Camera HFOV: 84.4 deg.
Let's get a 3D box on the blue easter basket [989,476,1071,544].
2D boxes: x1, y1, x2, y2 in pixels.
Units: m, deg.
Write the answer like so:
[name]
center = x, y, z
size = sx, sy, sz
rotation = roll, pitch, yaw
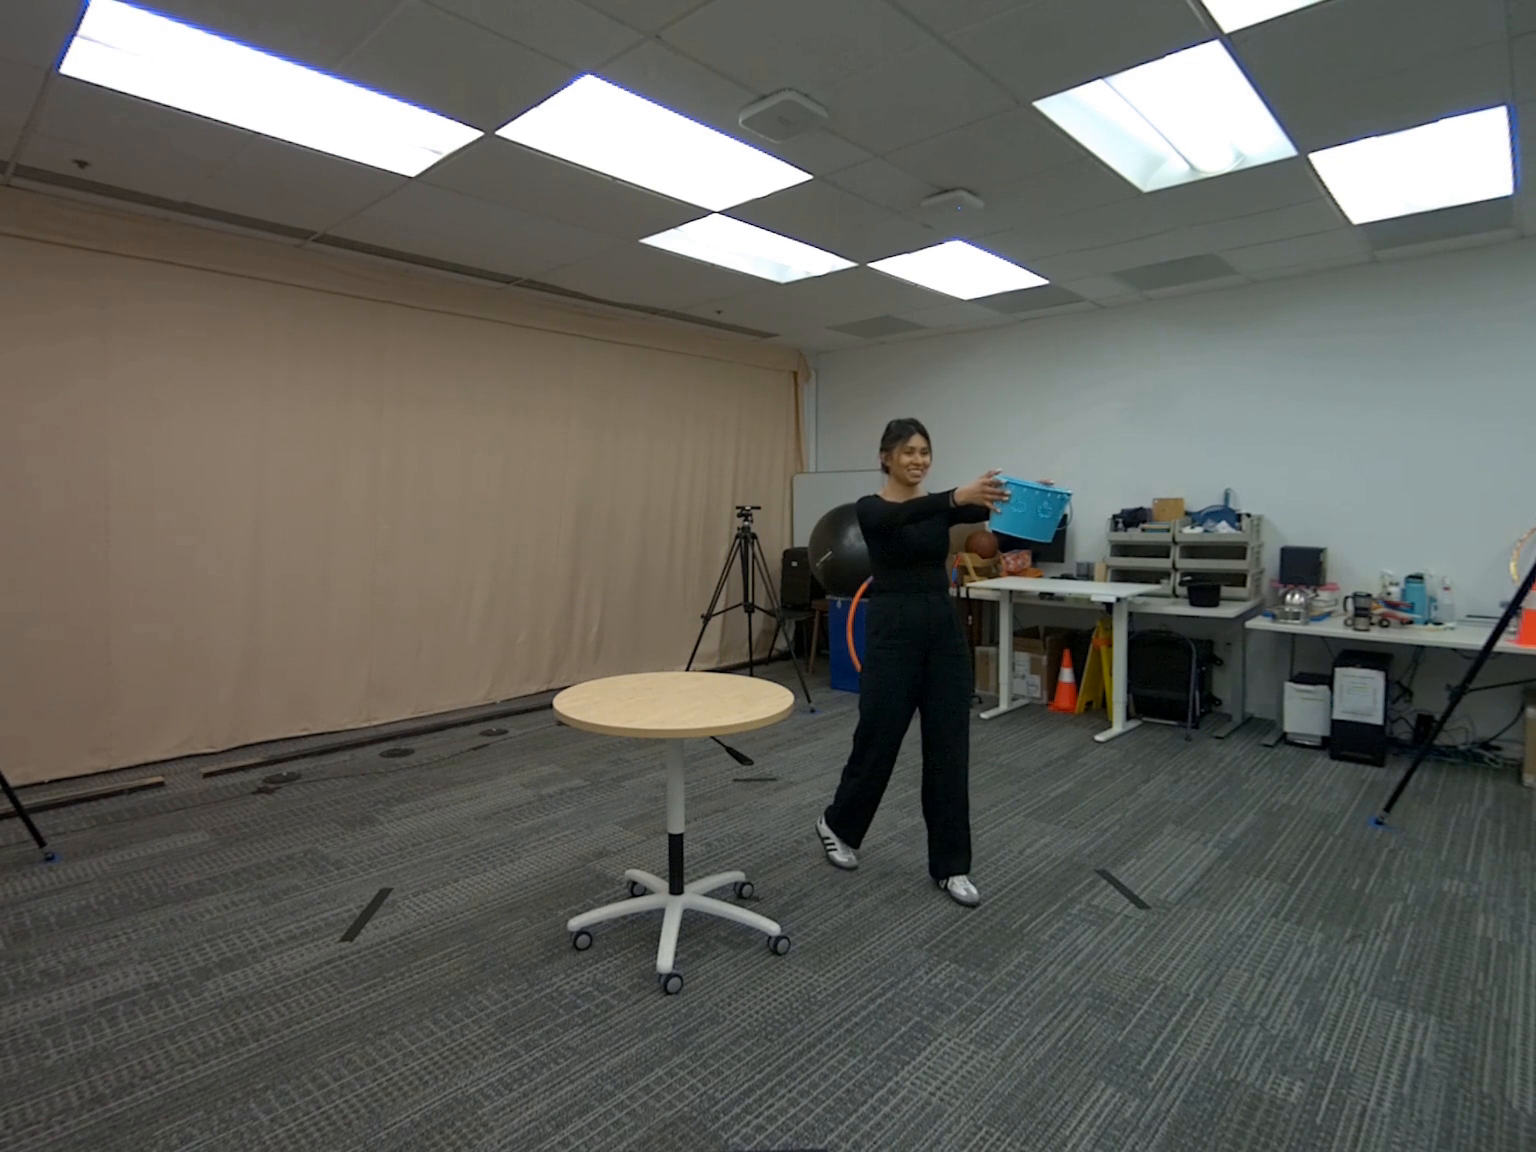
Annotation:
[blue easter basket]
center = 0.764, -0.190, 2.487
size = 0.243, 0.155, 0.246
rotation = 8, 12, -4
